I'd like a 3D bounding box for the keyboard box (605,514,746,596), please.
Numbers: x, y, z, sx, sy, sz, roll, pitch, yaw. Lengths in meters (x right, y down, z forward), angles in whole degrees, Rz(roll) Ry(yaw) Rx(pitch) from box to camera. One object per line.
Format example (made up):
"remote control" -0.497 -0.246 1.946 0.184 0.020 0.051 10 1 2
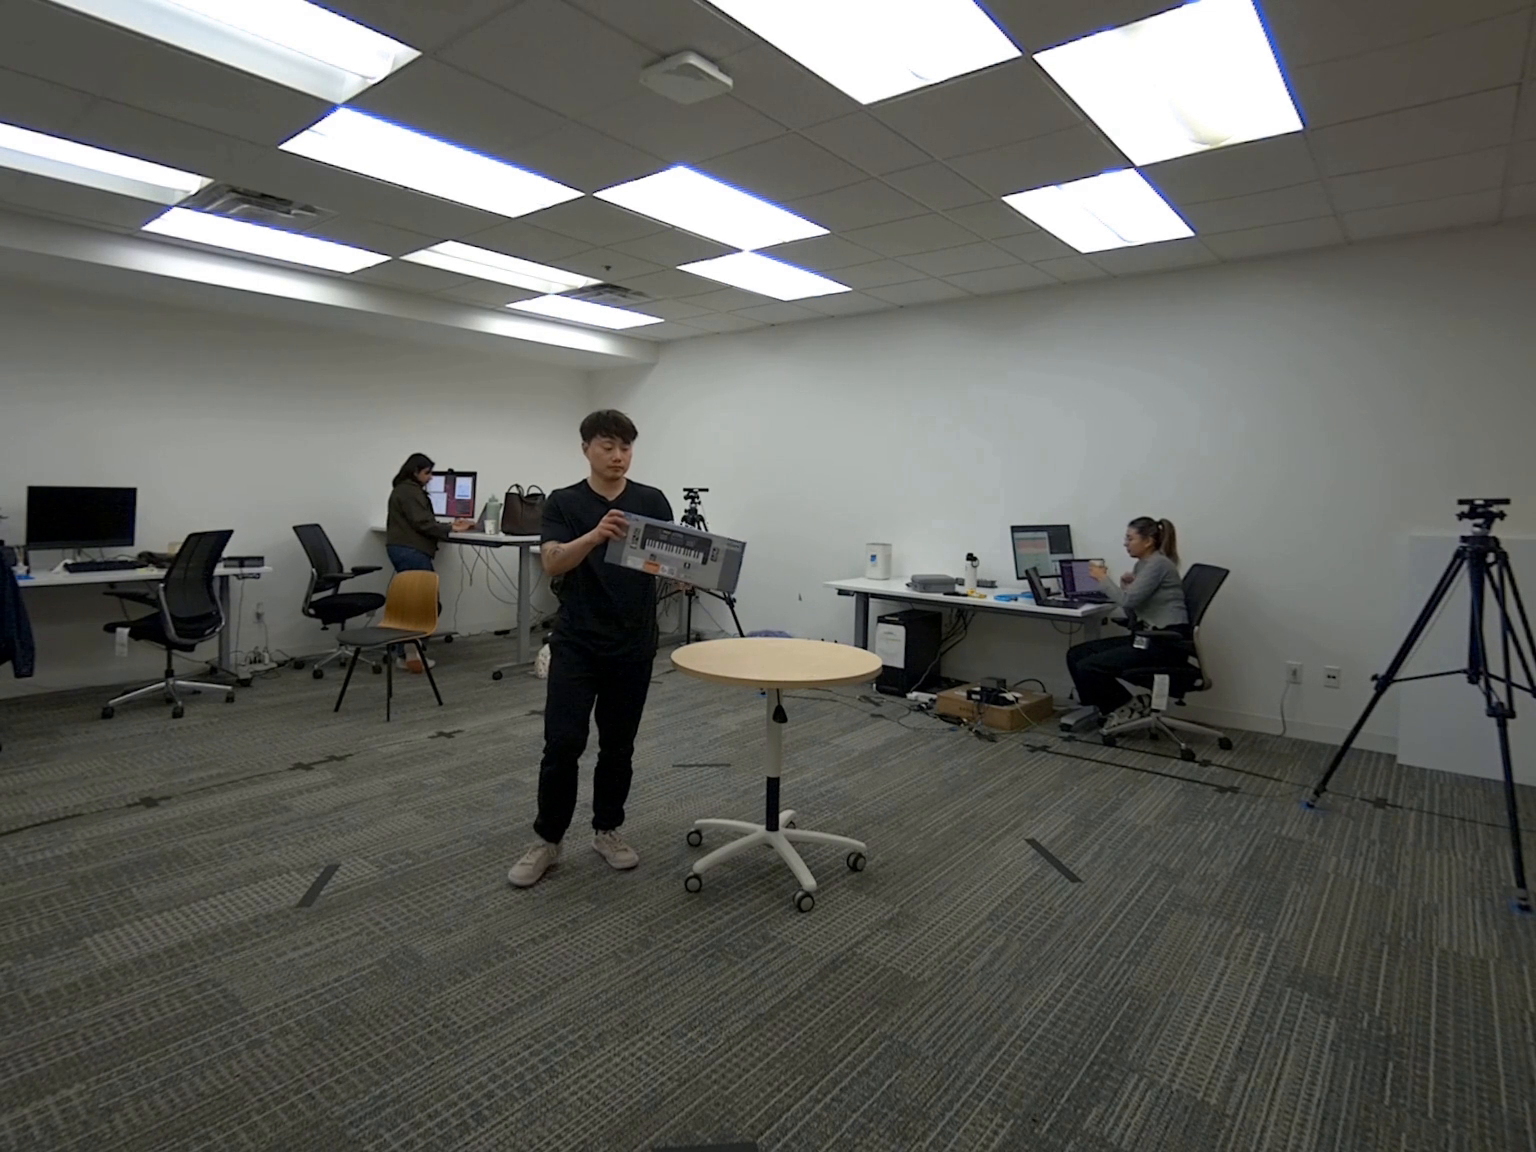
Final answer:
"keyboard box" -0.313 -0.077 2.752 0.442 0.175 0.058 15 3 10
